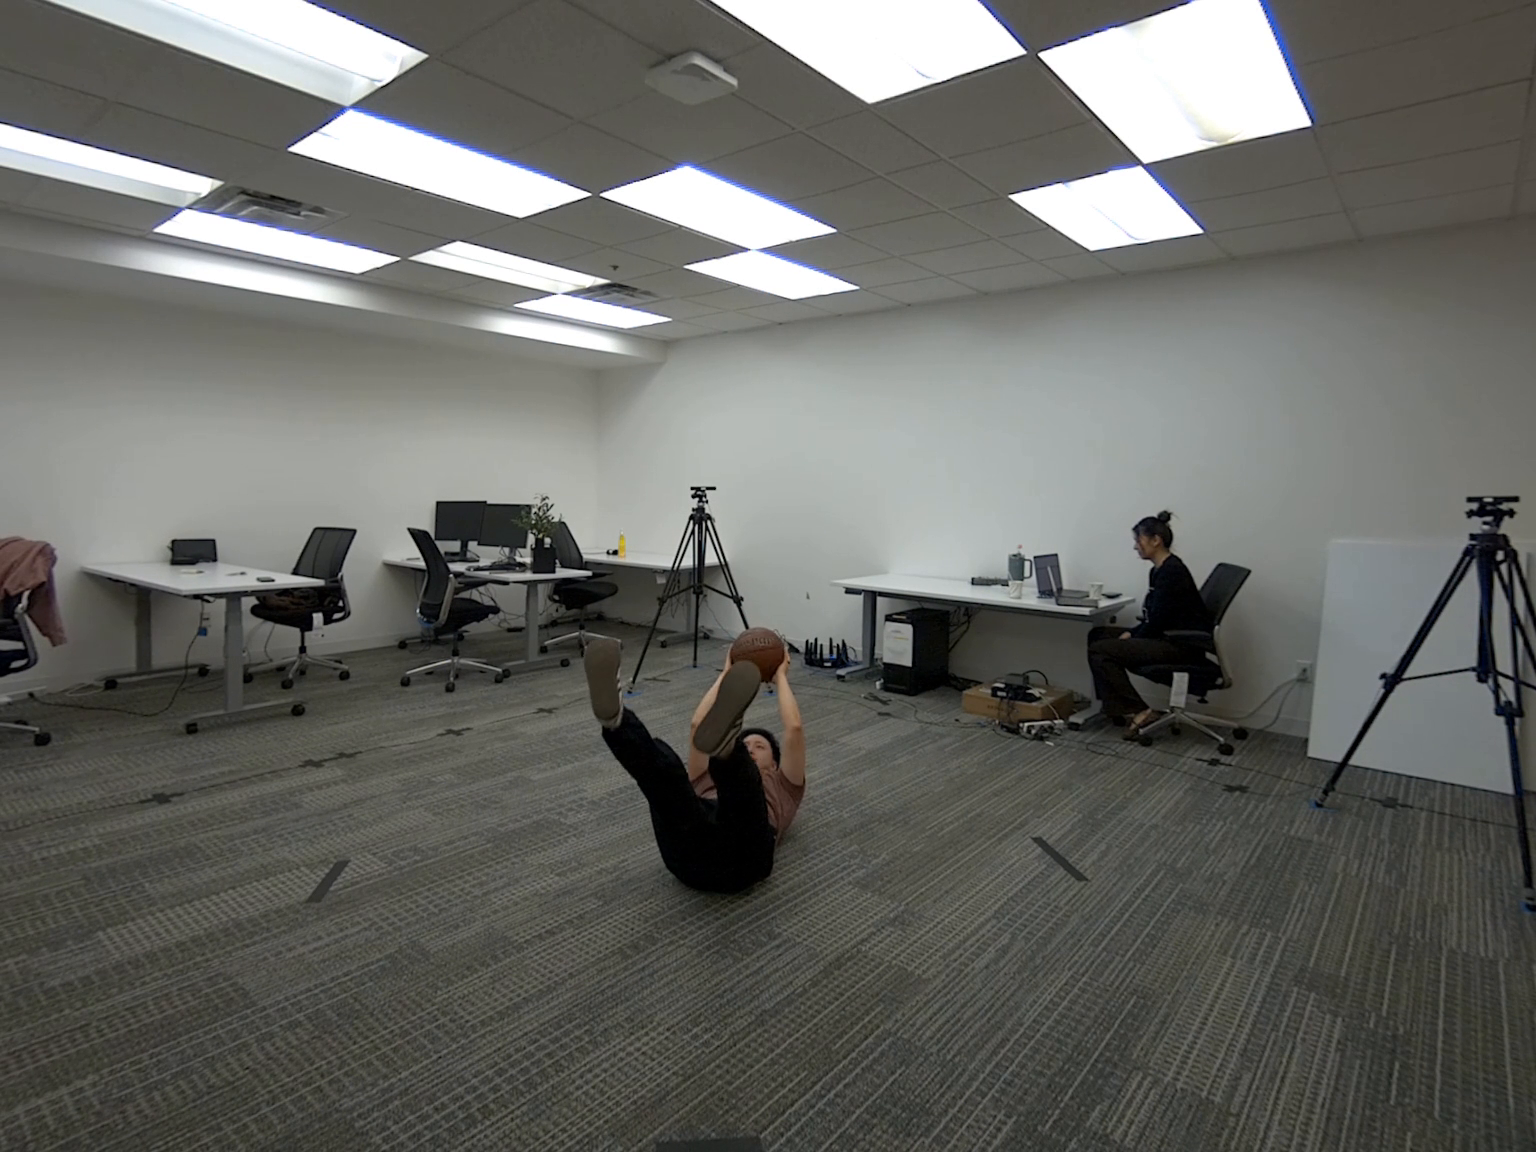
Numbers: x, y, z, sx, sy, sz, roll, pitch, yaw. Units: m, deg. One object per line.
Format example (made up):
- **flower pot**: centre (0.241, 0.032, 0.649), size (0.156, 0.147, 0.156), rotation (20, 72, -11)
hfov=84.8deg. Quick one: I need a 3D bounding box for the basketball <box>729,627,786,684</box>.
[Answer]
- **basketball**: centre (-0.050, 0.344, 3.663), size (0.236, 0.235, 0.237), rotation (-3, 3, -2)
